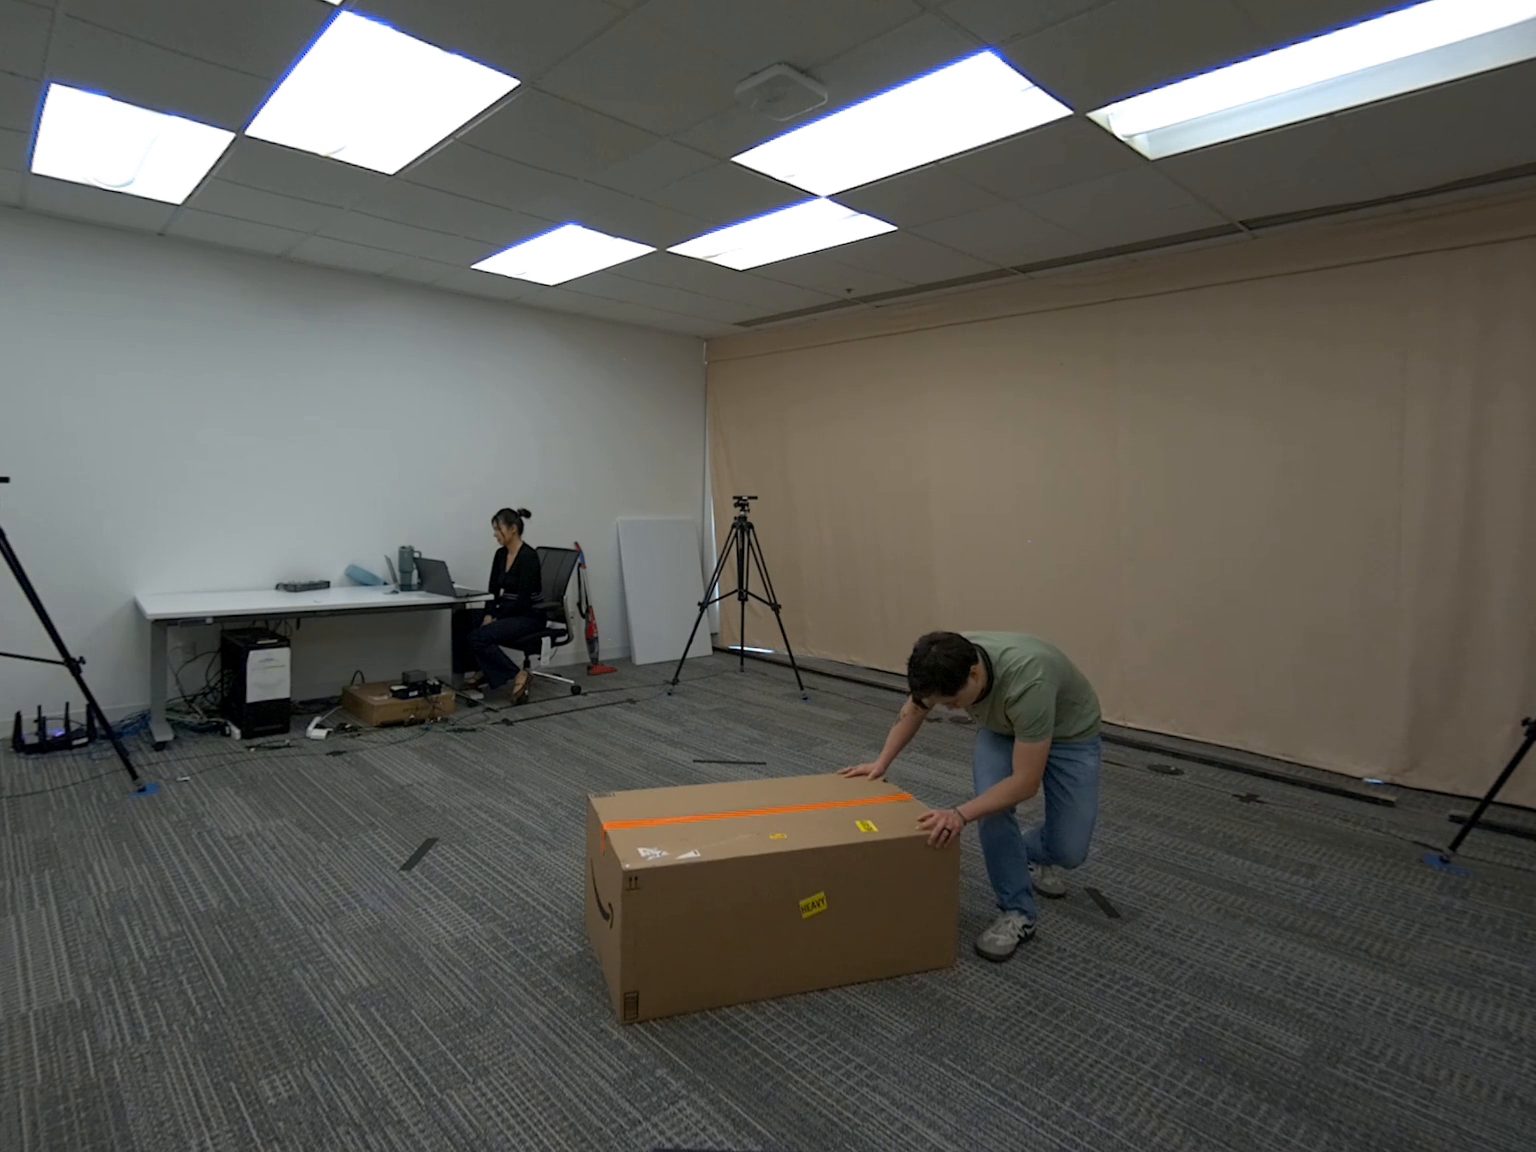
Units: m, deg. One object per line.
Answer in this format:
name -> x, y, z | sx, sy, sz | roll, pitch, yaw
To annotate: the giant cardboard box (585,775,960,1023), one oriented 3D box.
giant cardboard box -> -0.016, 0.936, 2.620 | 1.011, 0.425, 0.588 | 0, 5, -20
